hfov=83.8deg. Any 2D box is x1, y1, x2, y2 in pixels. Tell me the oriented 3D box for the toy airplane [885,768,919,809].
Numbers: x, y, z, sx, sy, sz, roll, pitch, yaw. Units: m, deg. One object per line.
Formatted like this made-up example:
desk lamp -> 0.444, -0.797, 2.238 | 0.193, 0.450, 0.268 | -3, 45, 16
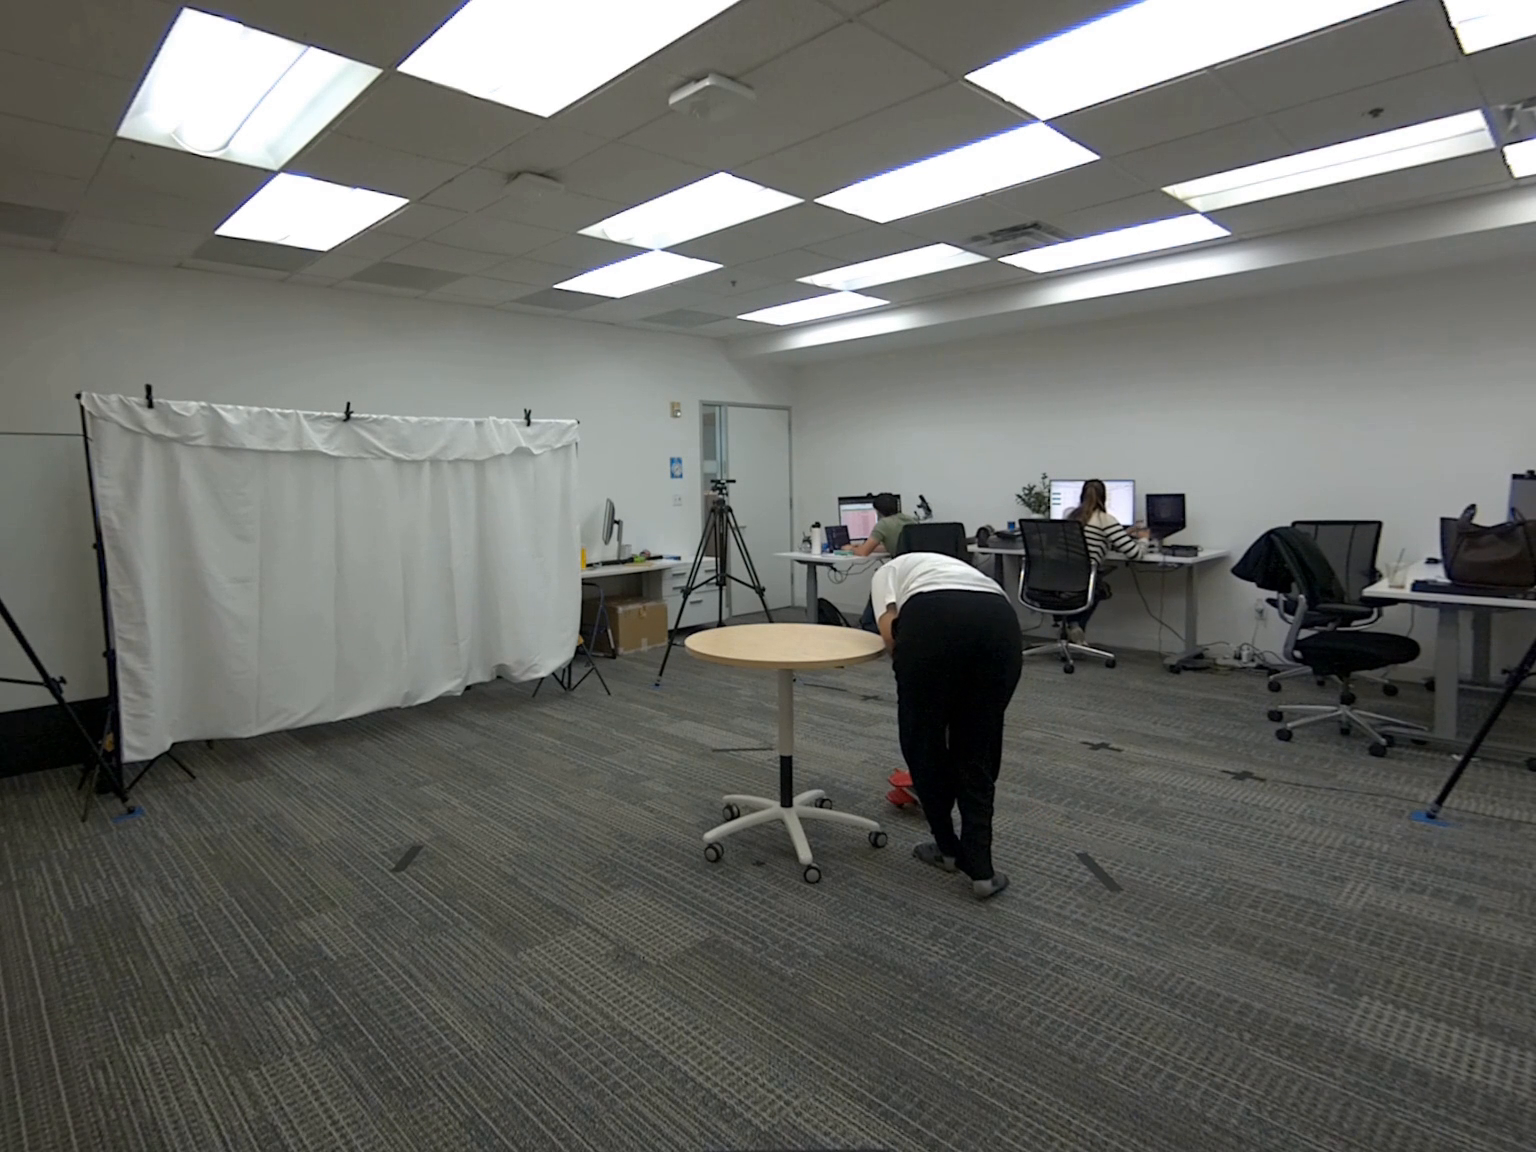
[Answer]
toy airplane -> 0.655, 0.913, 3.583 | 0.266, 0.156, 0.244 | 1, 3, 37
